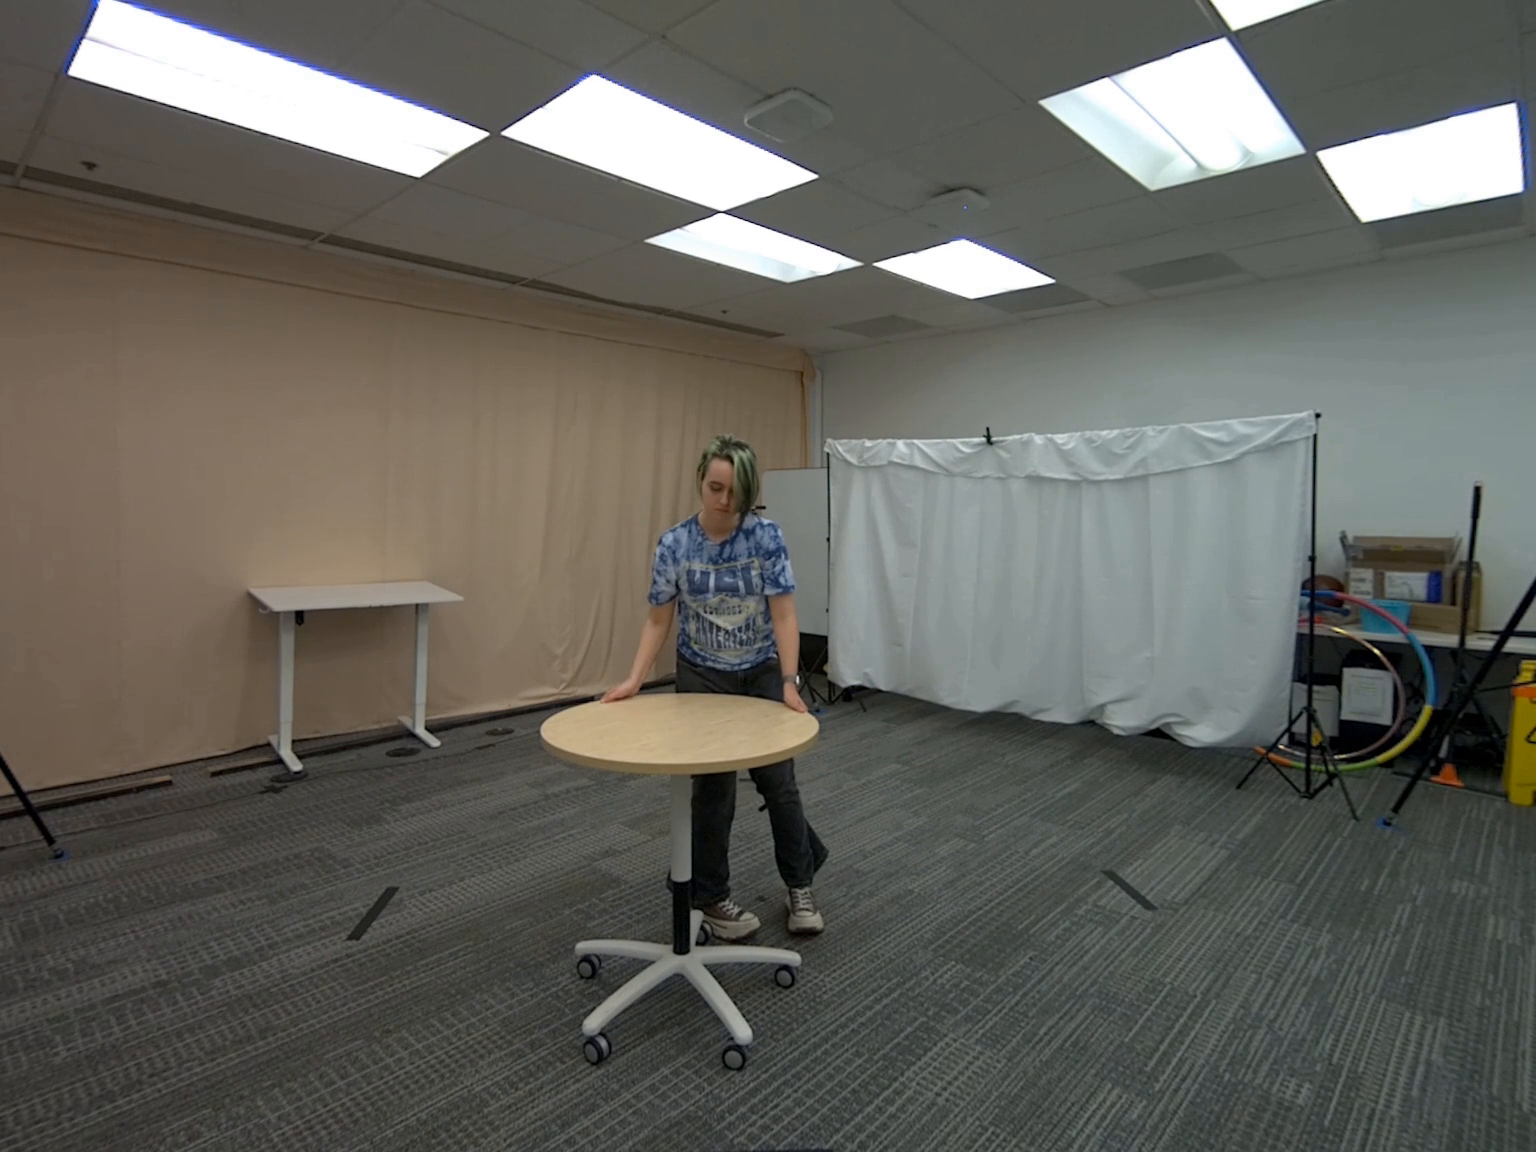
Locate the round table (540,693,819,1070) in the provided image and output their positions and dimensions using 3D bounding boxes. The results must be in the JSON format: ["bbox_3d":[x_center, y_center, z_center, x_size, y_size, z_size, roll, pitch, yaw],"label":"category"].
[{"bbox_3d":[-0.252,0.807,2.353,0.763,0.792,0.766,-1,4,-2],"label":"round table"}]
